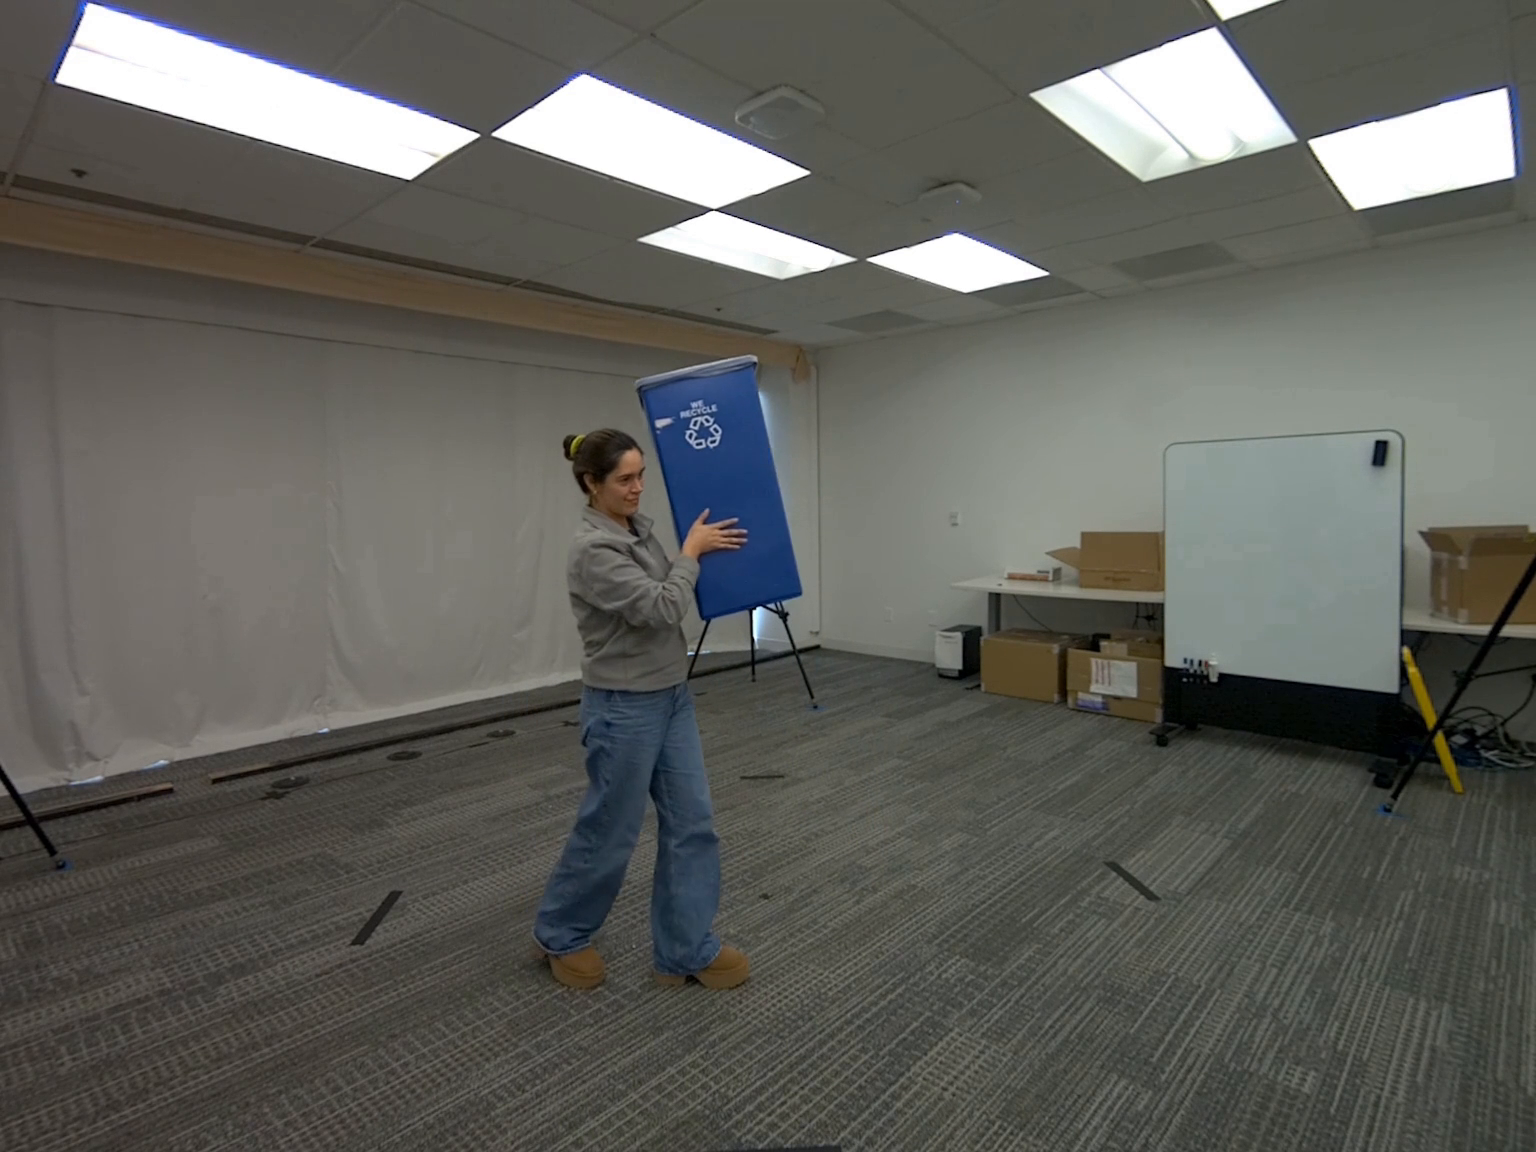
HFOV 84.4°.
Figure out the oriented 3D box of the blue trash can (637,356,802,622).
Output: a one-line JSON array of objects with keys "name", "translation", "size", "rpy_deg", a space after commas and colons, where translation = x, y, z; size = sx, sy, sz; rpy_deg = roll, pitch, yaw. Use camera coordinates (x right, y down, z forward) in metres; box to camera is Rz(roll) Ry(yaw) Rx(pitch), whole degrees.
[{"name": "blue trash can", "translation": [-0.137, -0.256, 2.576], "size": [0.373, 0.716, 0.378], "rpy_deg": [-14, -4, -4]}]
